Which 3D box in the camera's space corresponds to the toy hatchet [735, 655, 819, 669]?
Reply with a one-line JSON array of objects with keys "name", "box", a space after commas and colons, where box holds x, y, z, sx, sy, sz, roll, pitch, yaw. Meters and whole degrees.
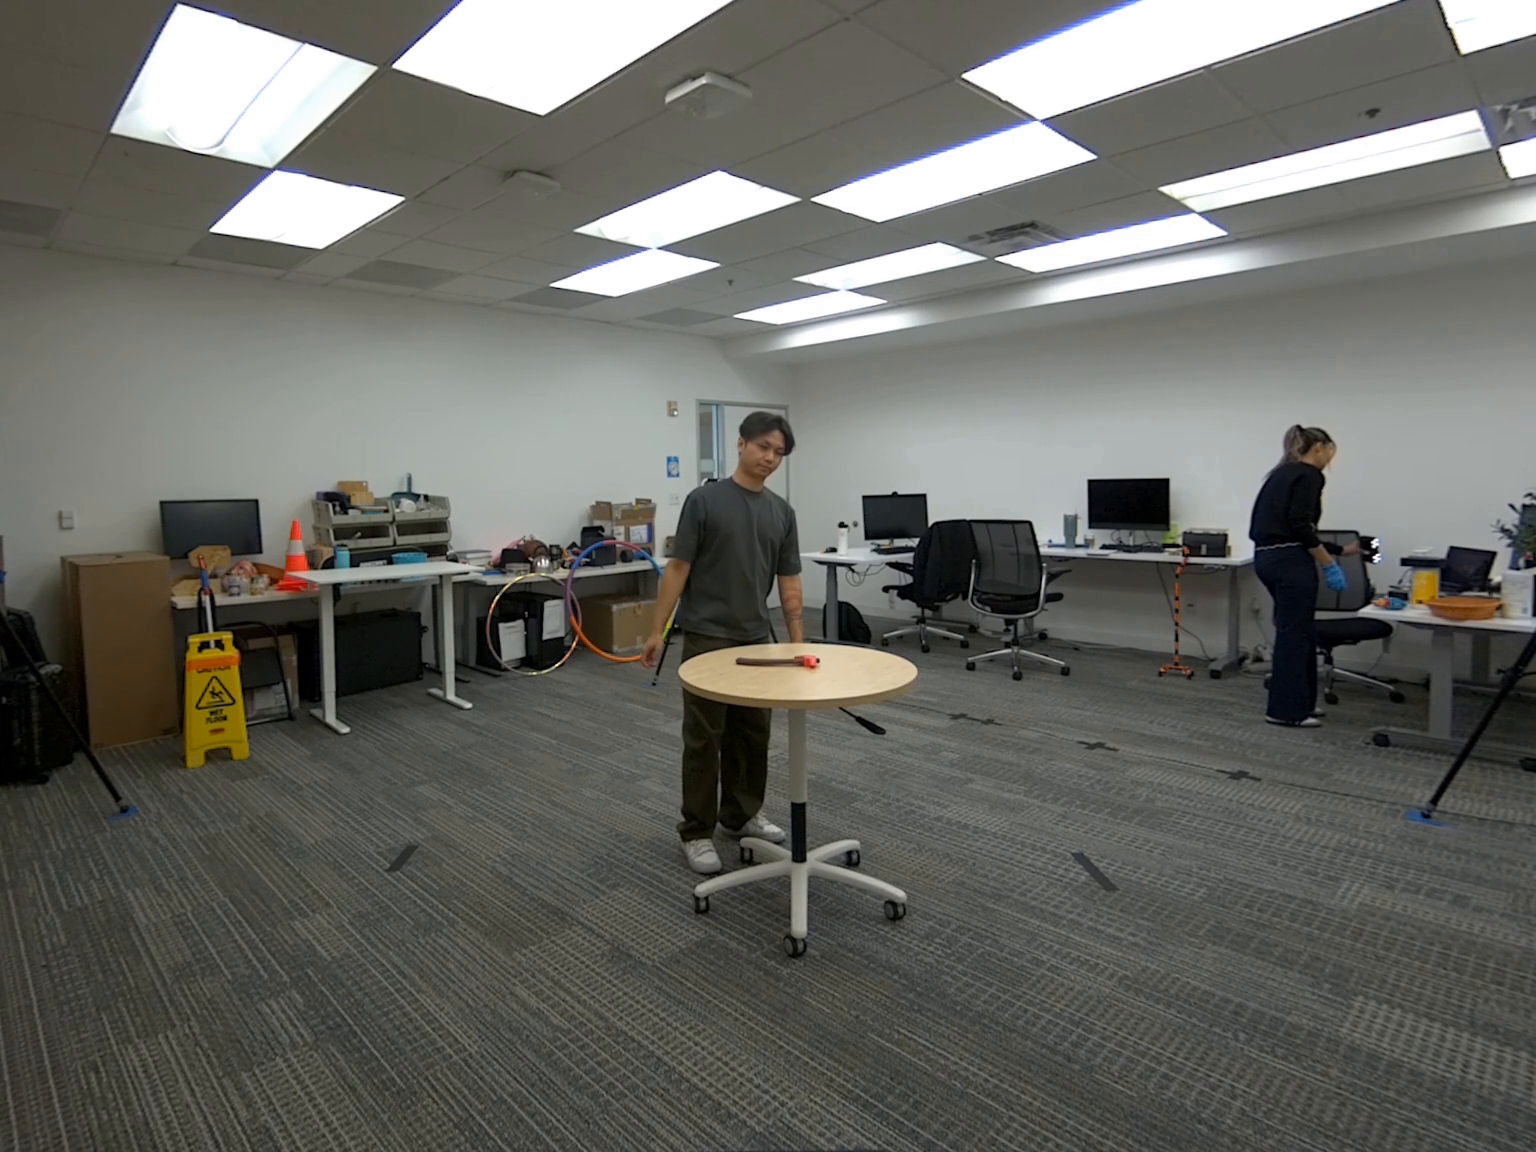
[{"name": "toy hatchet", "box": [0.031, 0.278, 2.833, 0.275, 0.029, 0.129, 1, 8, 19]}]
